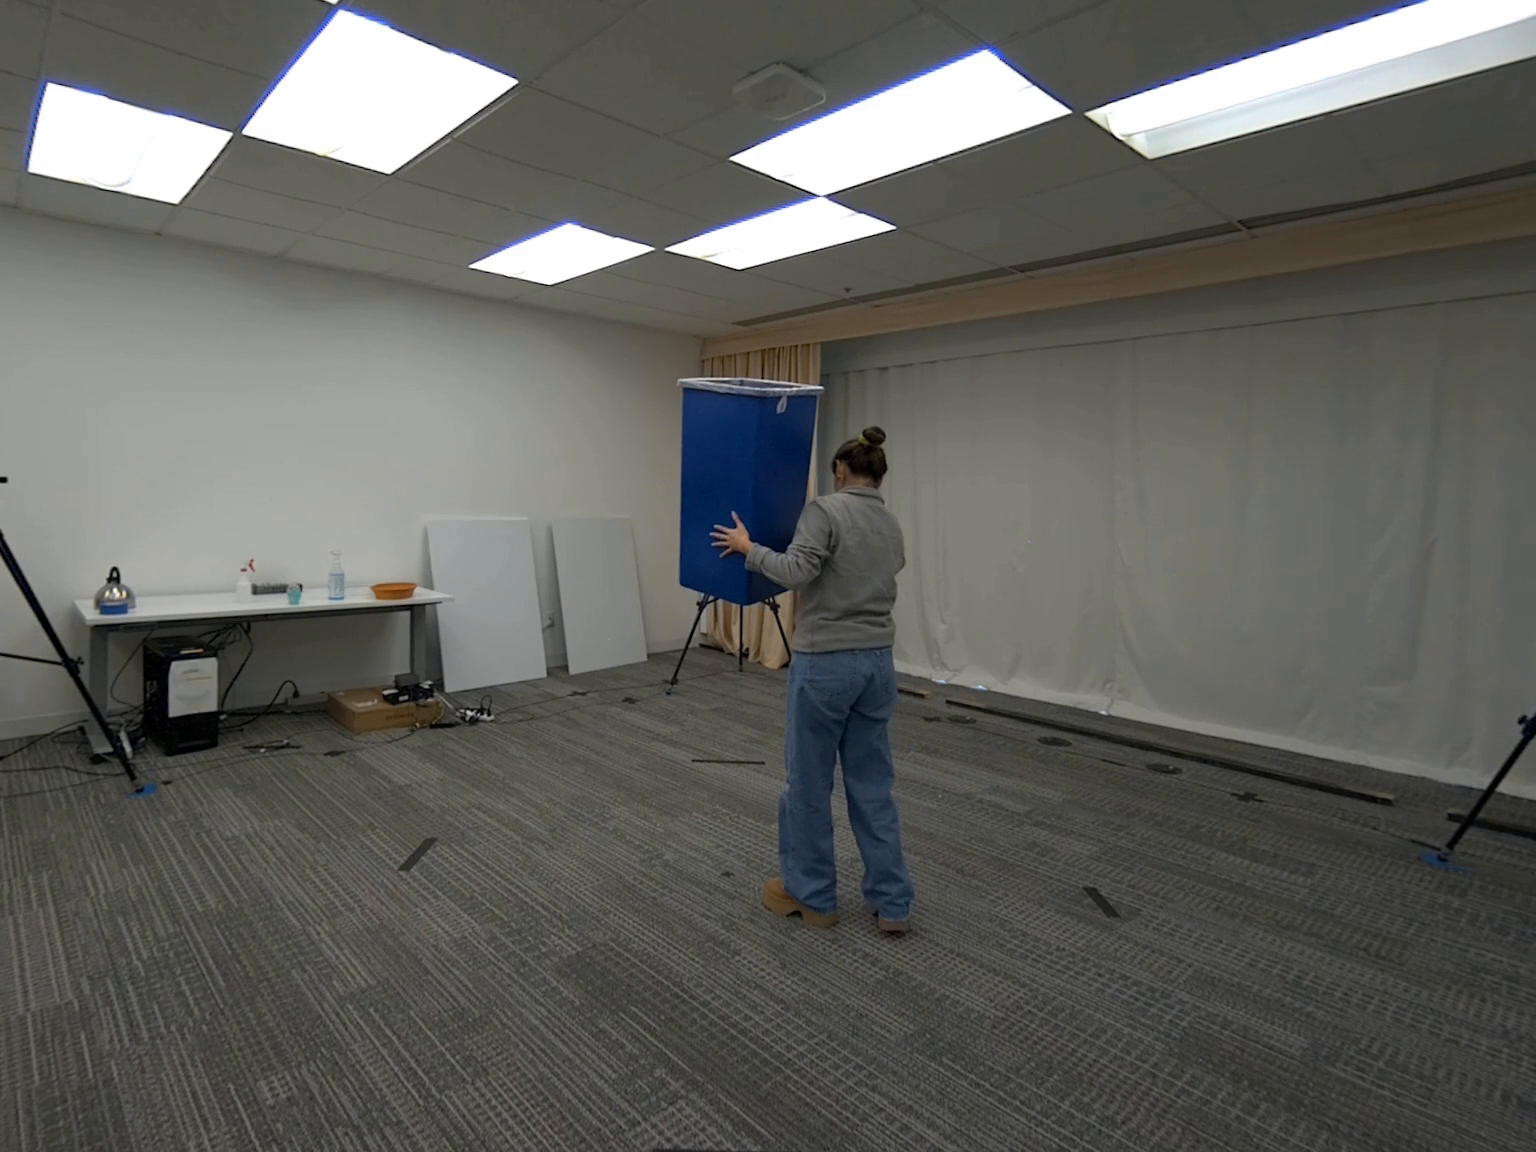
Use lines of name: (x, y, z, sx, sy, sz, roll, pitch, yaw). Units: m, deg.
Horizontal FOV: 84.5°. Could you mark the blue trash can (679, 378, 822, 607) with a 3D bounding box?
blue trash can: (-0.089, -0.312, 2.886, 0.384, 0.706, 0.372, 16, 18, 33)
